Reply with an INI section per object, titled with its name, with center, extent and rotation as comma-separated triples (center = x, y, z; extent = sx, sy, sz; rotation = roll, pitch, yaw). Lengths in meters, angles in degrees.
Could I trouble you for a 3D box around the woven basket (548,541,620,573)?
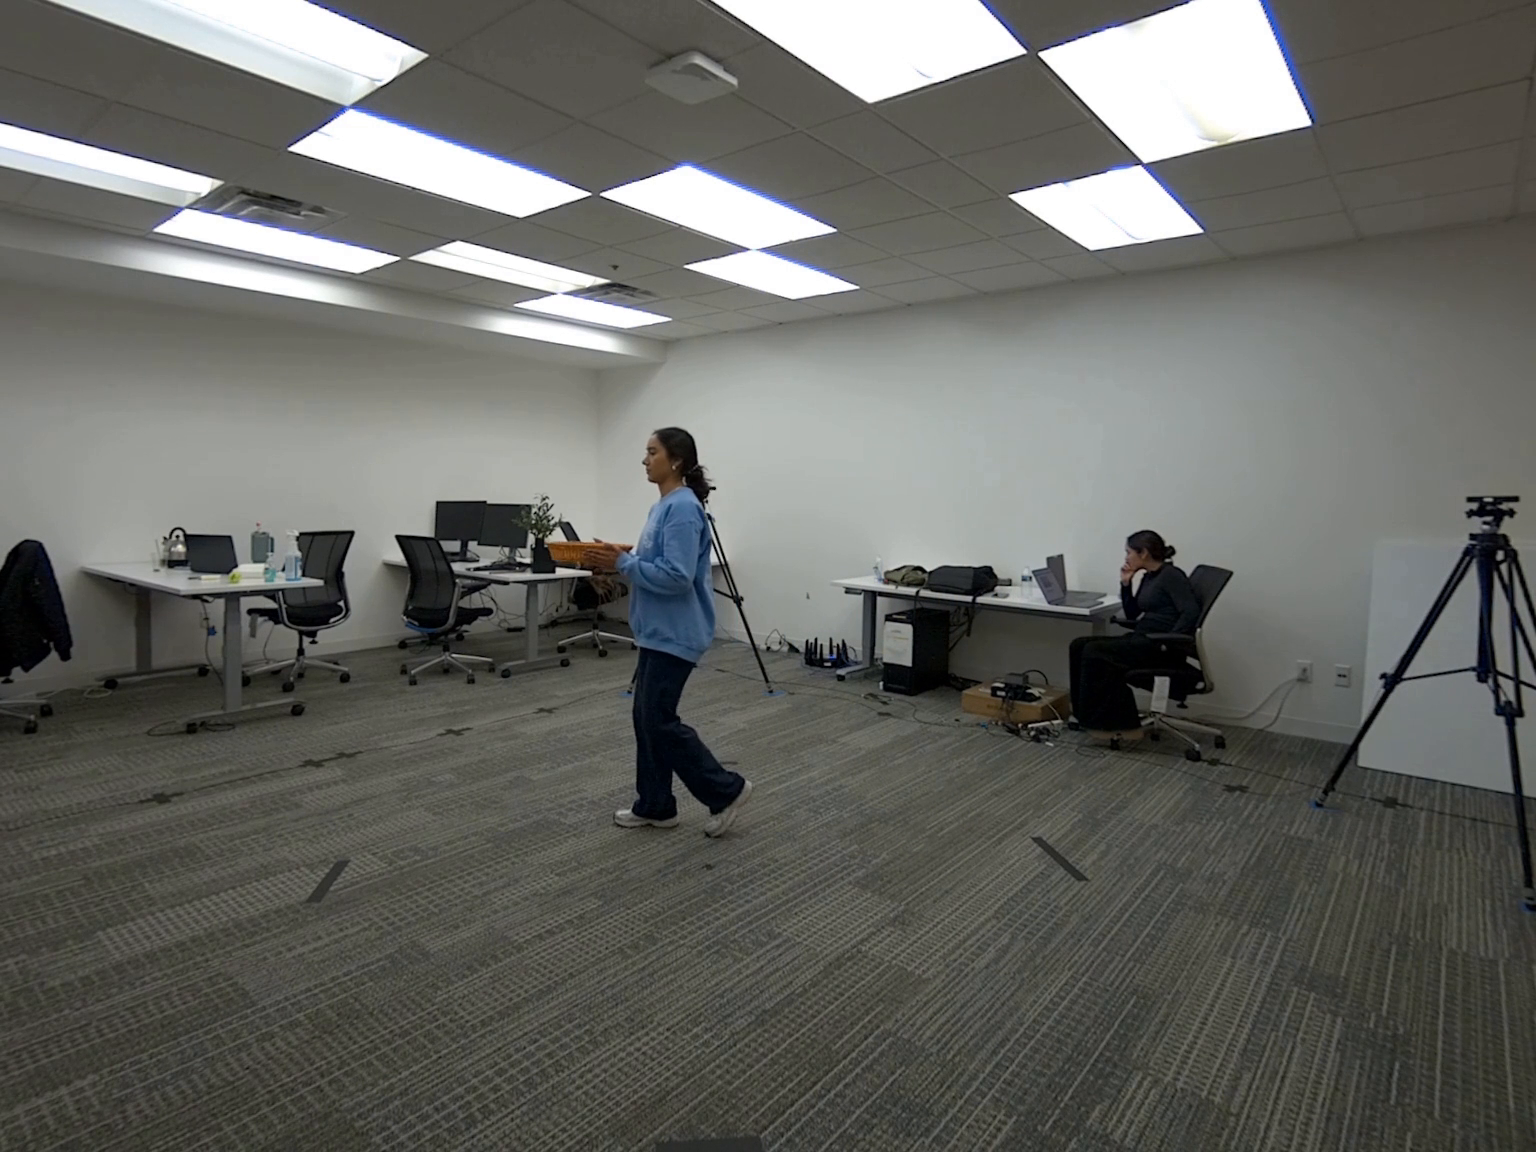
[woven basket]
center = -0.687, -0.084, 3.385
extent = 0.348, 0.073, 0.254
rotation = 2, 3, -7
